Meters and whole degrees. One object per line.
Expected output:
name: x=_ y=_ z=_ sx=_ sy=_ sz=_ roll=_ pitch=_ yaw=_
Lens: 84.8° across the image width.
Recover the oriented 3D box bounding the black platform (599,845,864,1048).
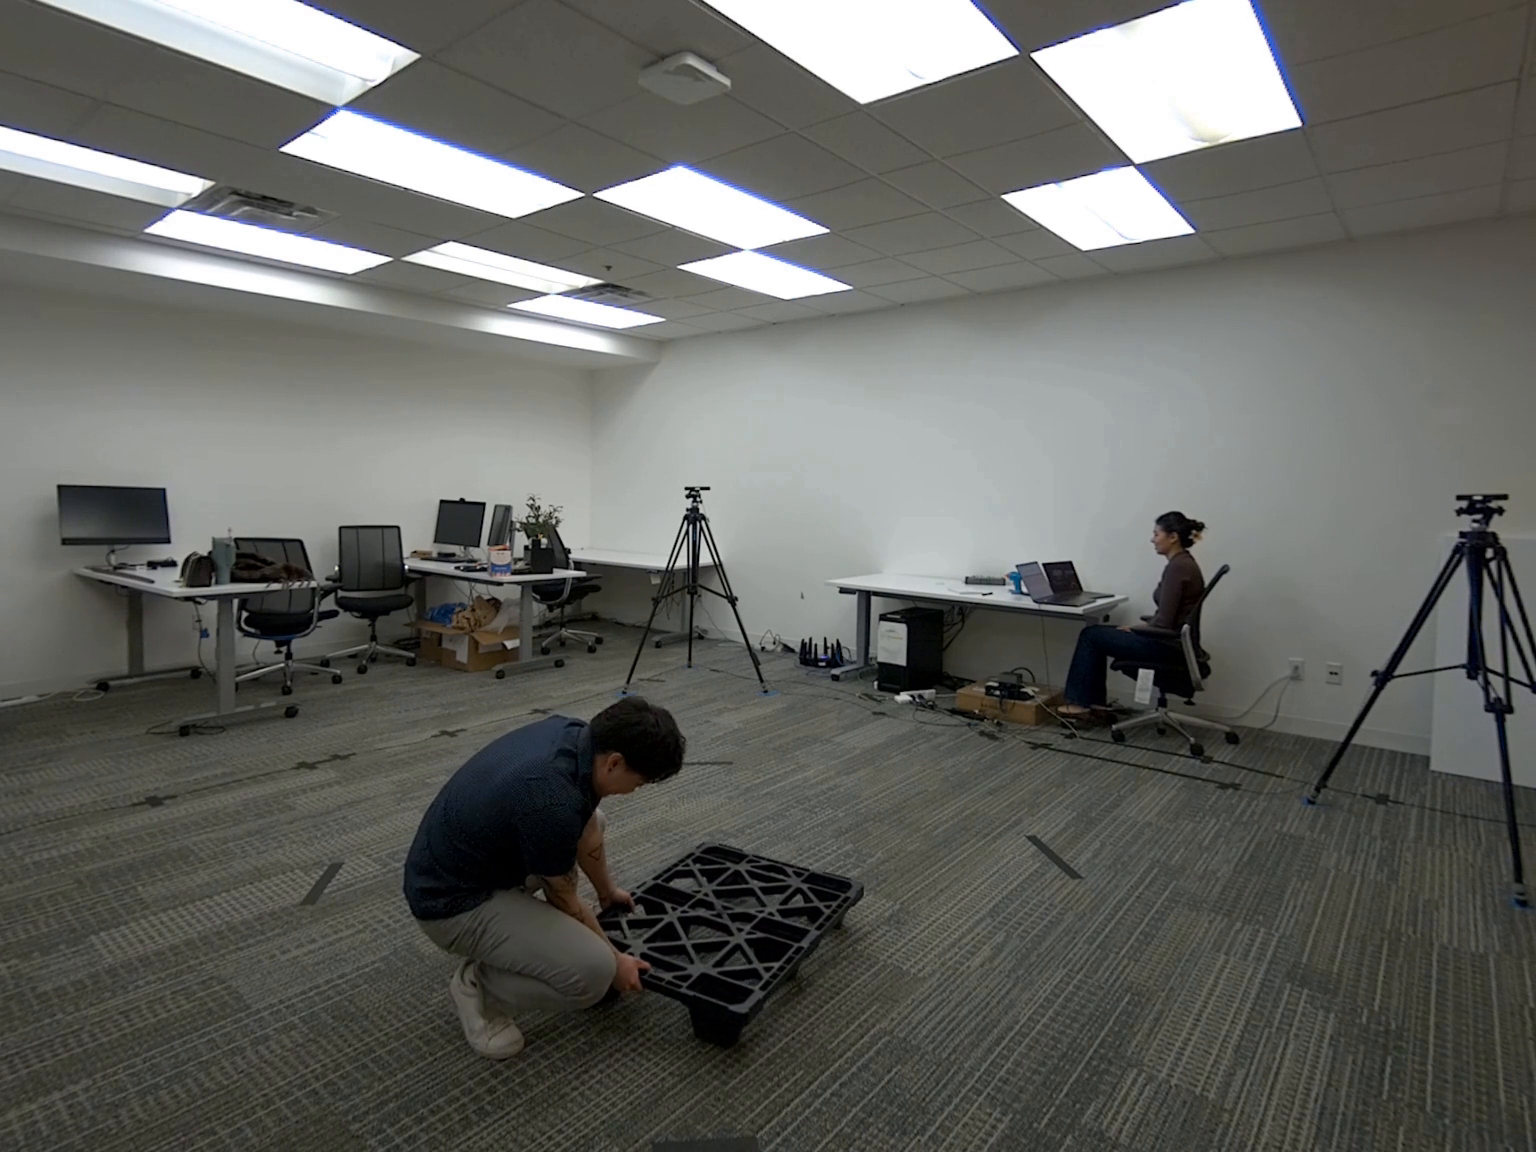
black platform: x=-0.138 y=1.057 z=2.531 sx=0.623 sy=0.142 sz=0.786 roll=5 pitch=8 yaw=28
